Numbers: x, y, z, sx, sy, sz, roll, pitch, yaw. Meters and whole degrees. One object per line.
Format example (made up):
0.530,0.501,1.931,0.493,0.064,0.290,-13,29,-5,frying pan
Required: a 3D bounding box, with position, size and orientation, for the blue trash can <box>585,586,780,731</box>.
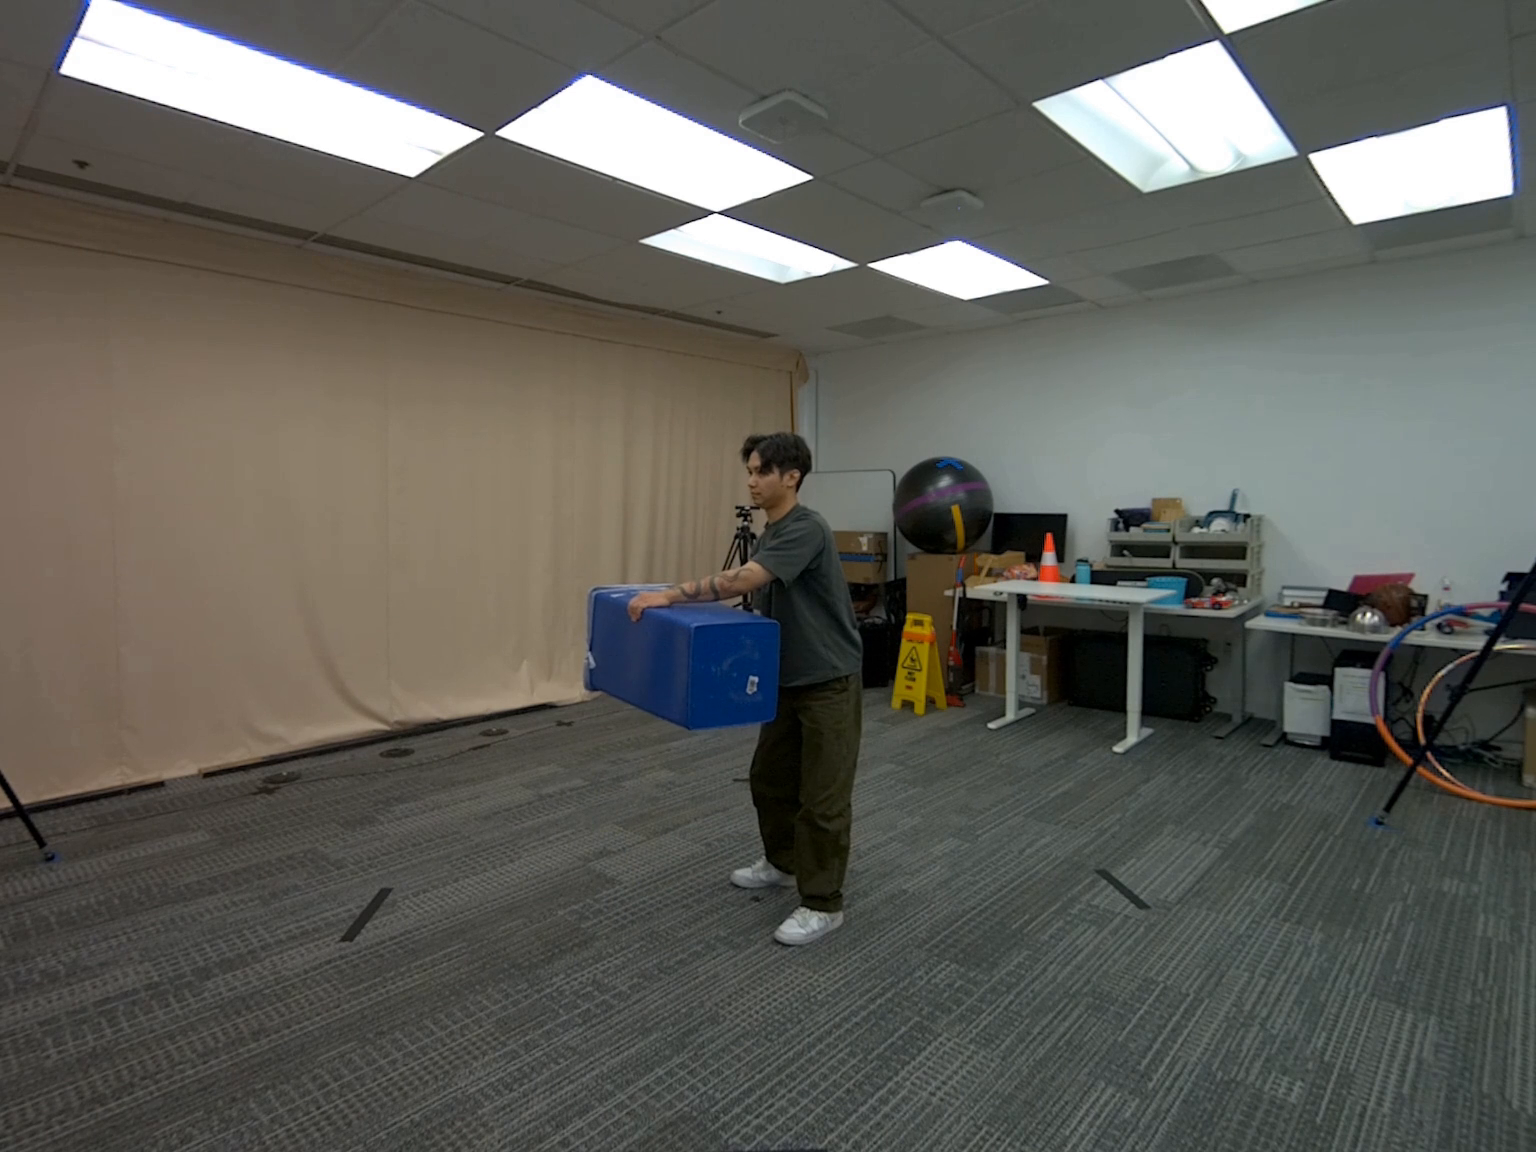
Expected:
-0.288,0.263,2.718,0.367,0.373,0.736,0,6,-32,blue trash can
